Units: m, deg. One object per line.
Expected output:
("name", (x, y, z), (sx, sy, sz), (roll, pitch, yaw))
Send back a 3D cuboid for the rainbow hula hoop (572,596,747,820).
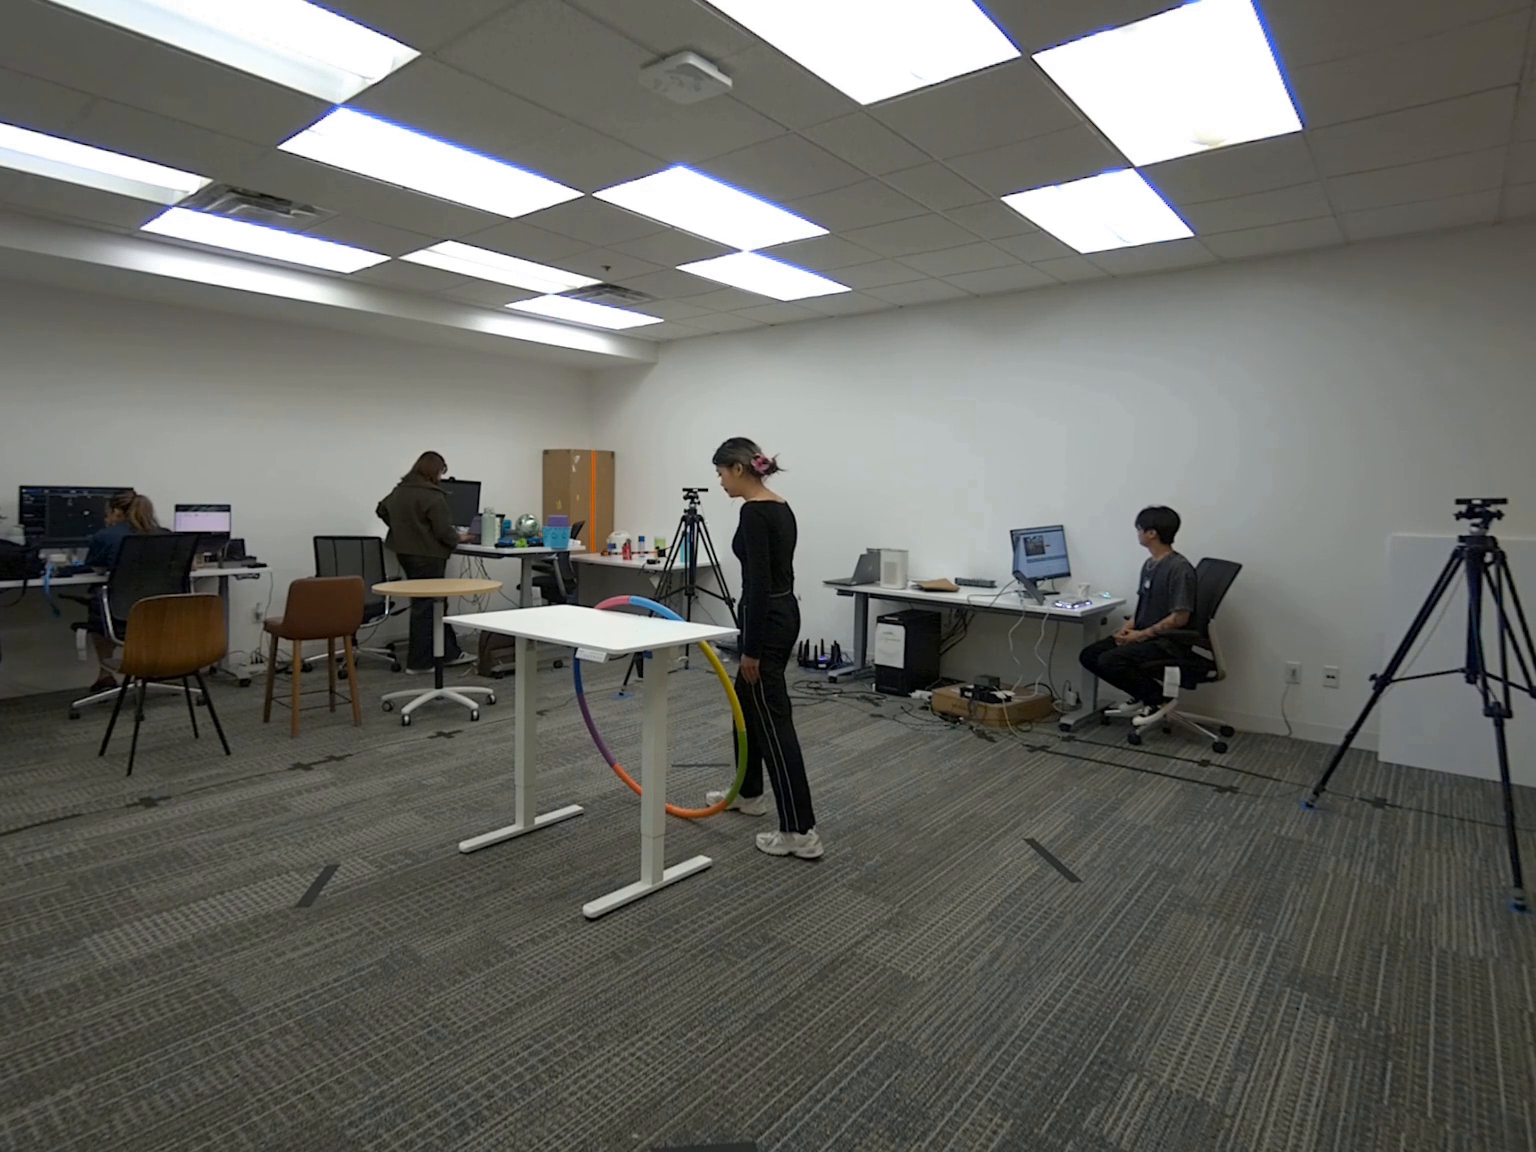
("rainbow hula hoop", (-0.487, 0.550, 3.531), (1.011, 0.963, 0.035), (4, 19, 39))
